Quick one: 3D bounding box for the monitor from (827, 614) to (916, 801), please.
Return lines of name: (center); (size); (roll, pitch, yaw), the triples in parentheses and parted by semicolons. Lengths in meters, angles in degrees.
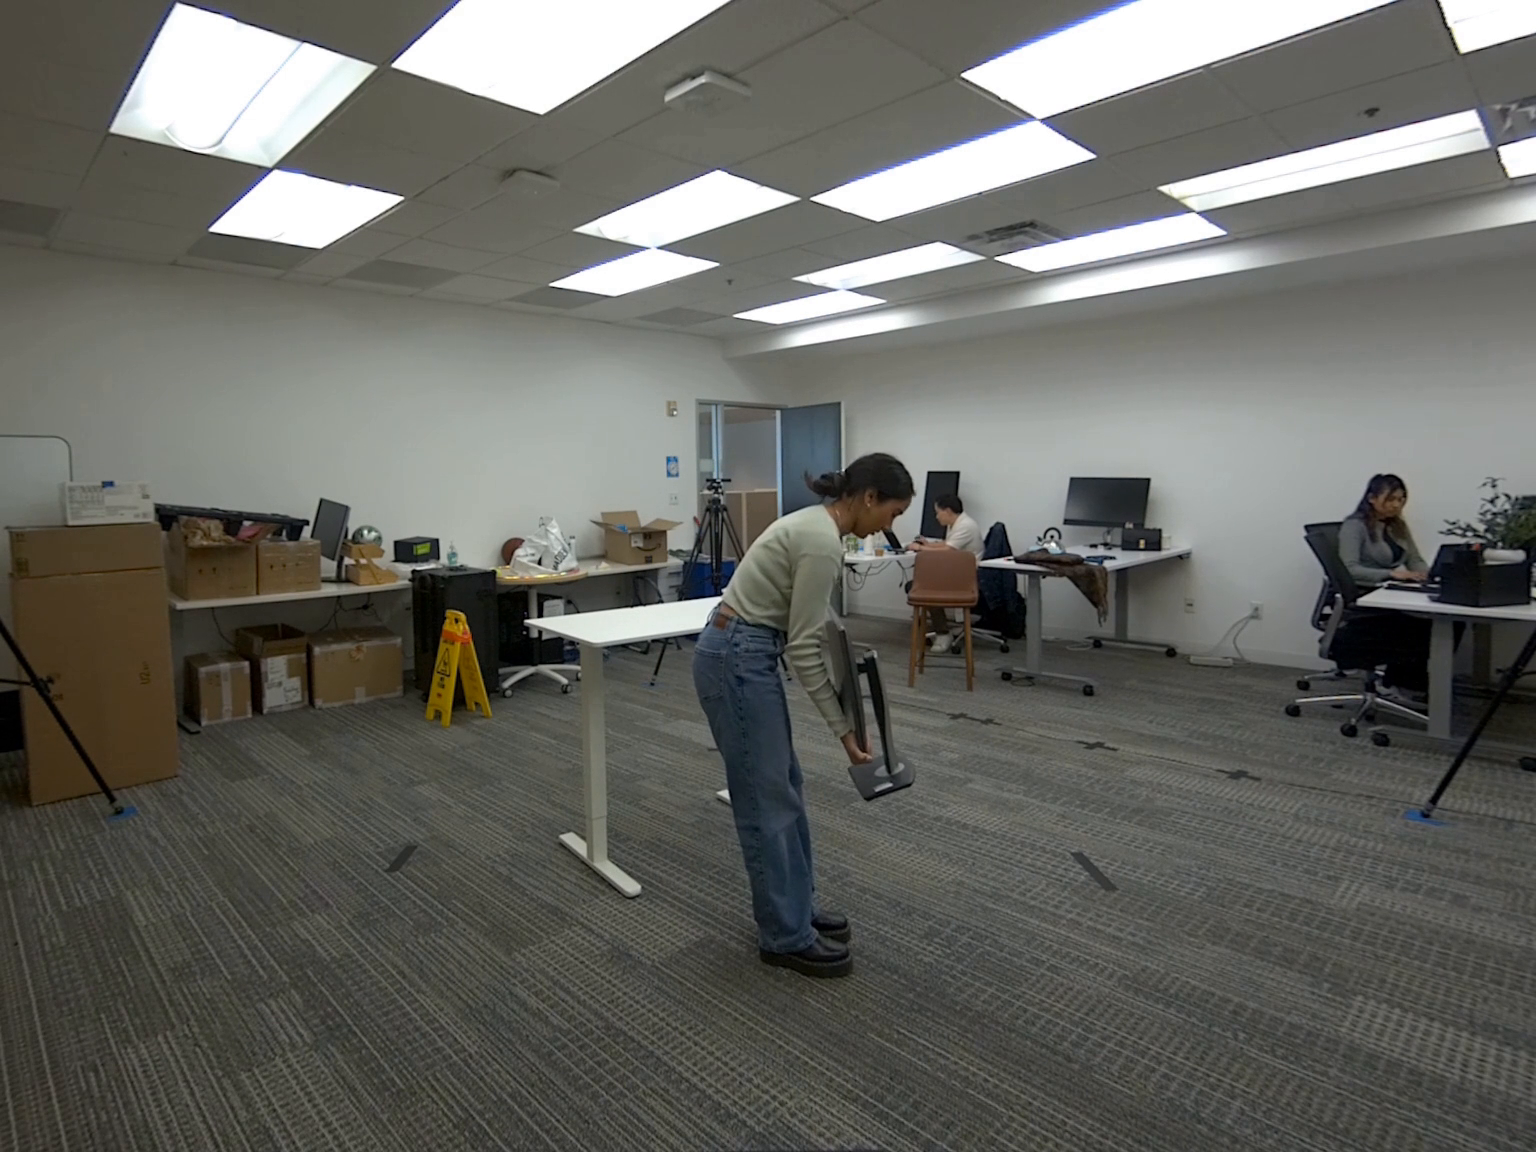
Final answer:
monitor: (0.271, 0.349, 2.503); (0.187, 0.521, 0.541); (-18, 4, -1)
